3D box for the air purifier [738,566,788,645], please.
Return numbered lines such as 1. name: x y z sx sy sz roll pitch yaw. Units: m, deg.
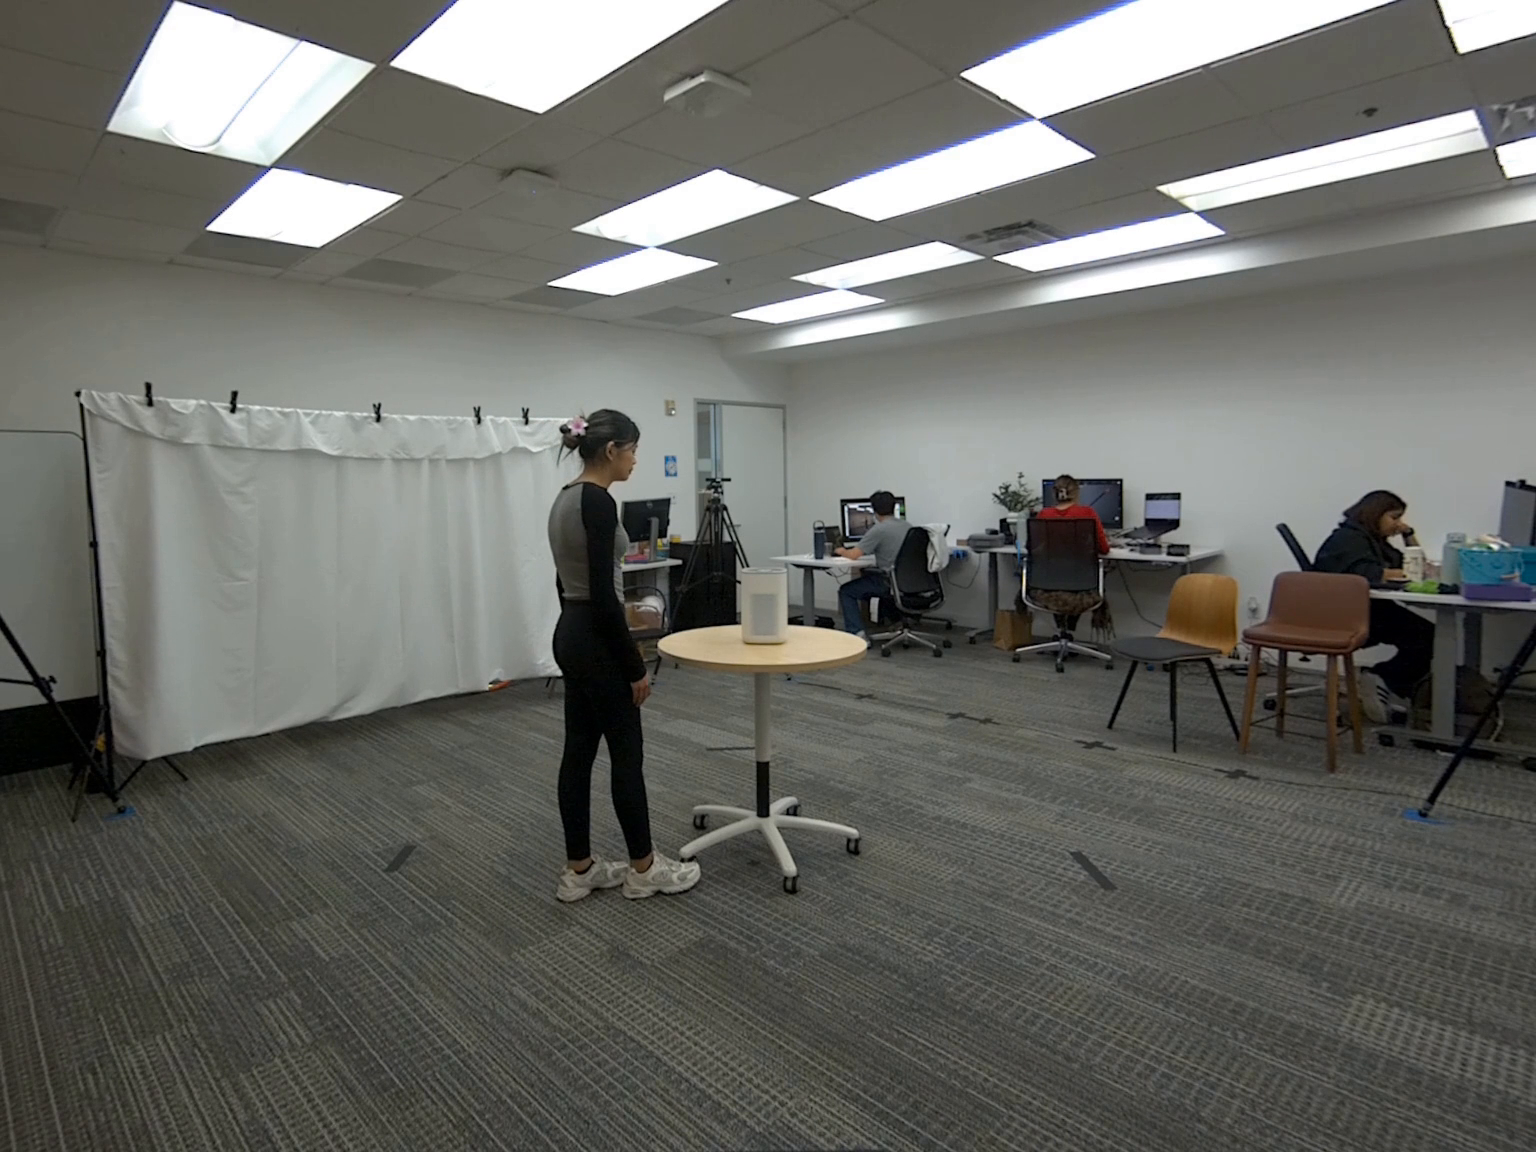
1. air purifier: -0.010 0.110 3.161 0.171 0.265 0.172 -1 3 -2
